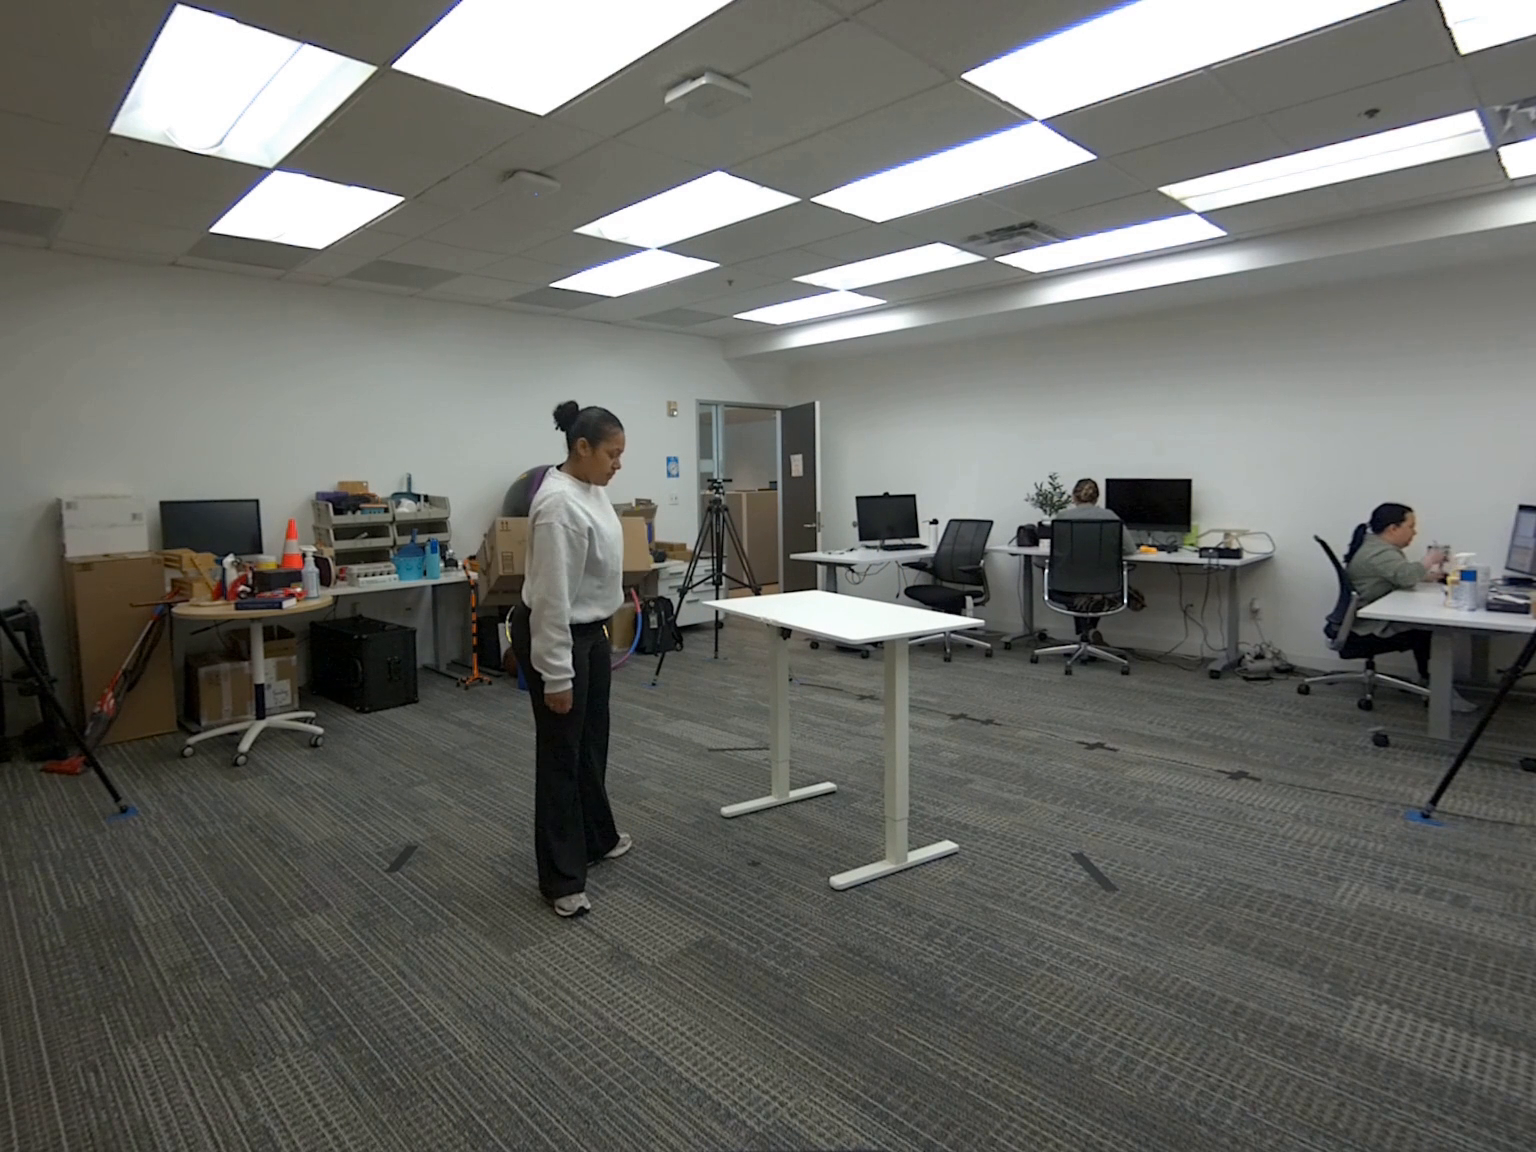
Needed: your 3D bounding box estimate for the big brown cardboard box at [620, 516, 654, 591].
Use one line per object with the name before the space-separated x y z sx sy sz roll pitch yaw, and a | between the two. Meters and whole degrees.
big brown cardboard box | -0.780 -0.056 3.278 0.575 0.237 0.420 -2 -16 -28
